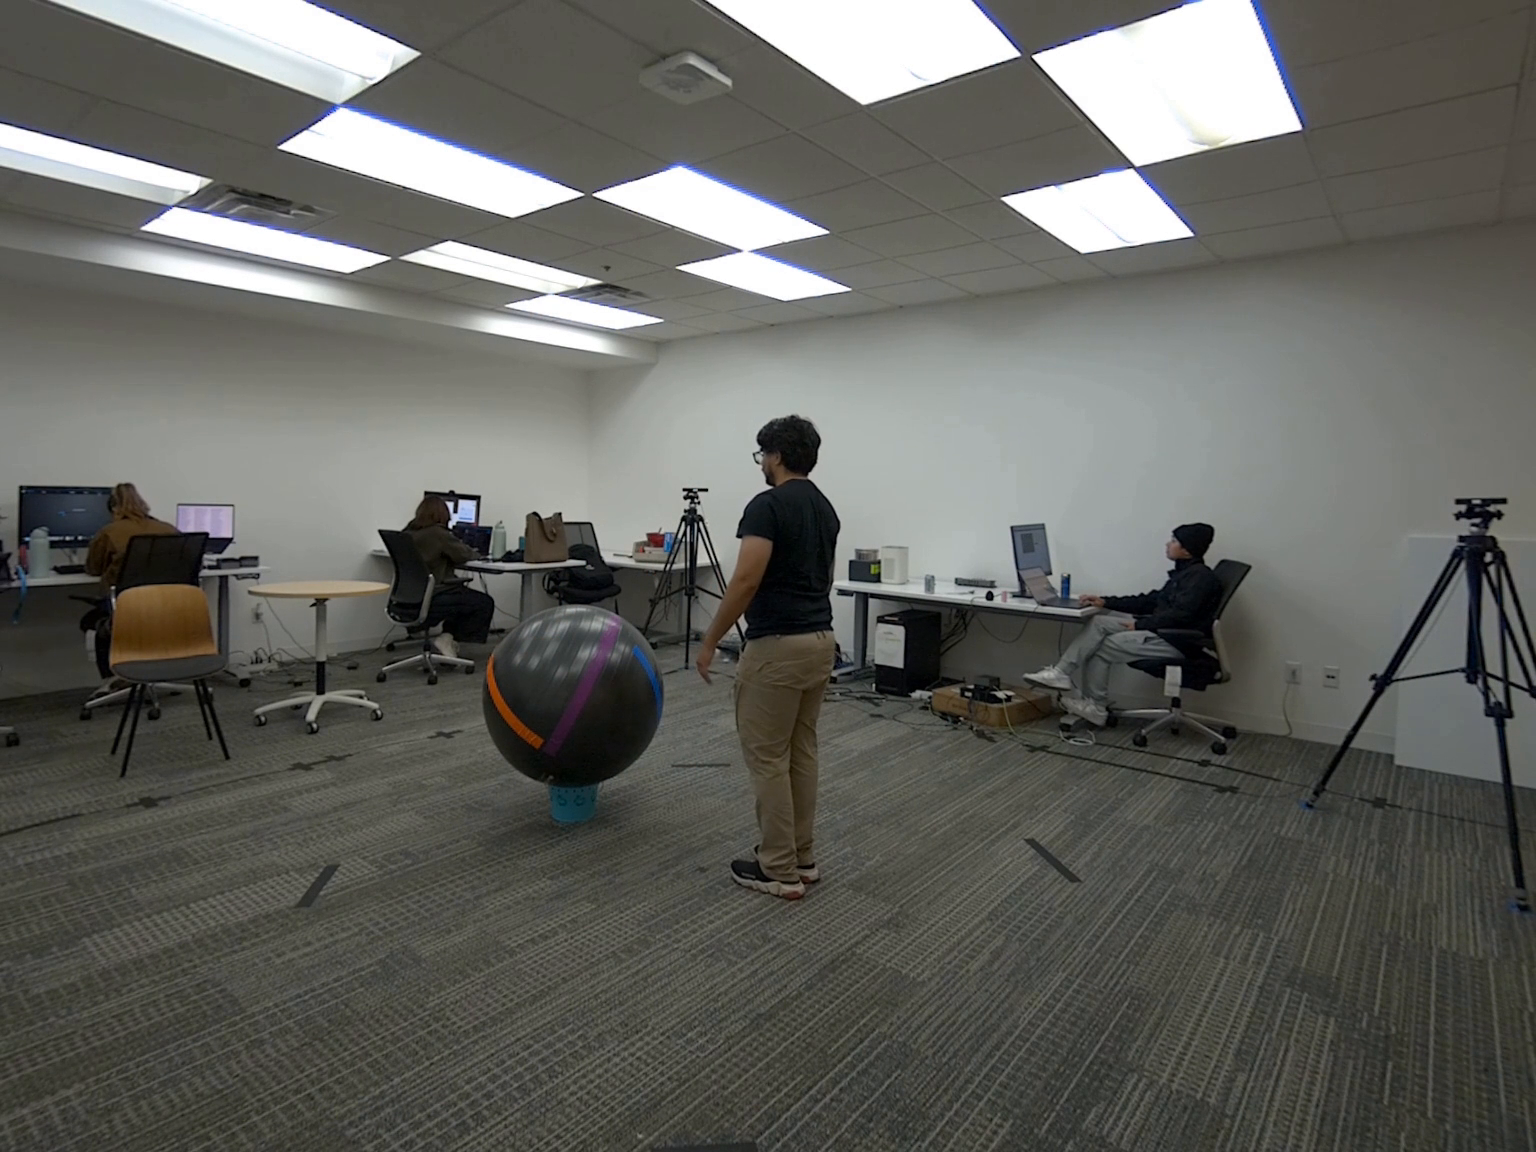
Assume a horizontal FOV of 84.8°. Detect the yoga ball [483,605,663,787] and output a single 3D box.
[{"bbox_3d":[-0.829,0.505,3.603,0.757,0.755,0.762,1,4,-2],"label":"yoga ball"}]
